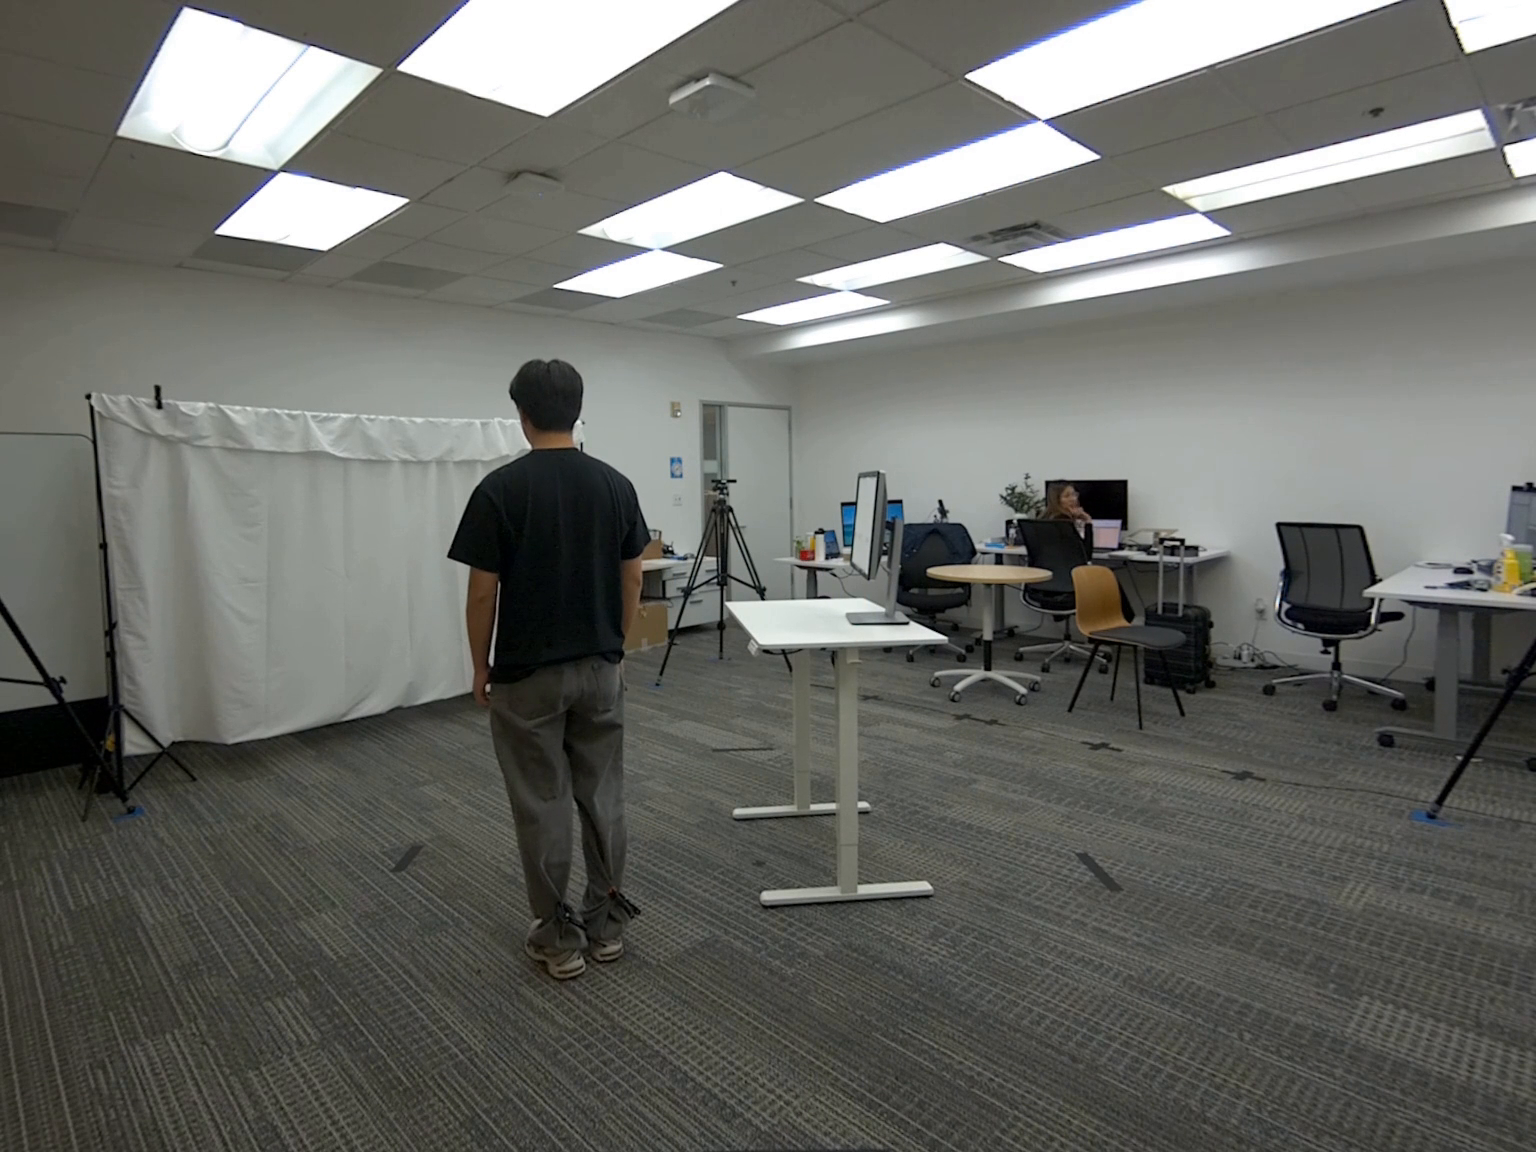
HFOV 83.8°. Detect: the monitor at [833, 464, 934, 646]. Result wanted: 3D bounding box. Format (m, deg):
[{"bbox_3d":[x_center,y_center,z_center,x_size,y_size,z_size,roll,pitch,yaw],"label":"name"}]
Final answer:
[{"bbox_3d":[0.396,-0.096,3.067,0.223,0.564,0.562,-8,4,3],"label":"monitor"}]
